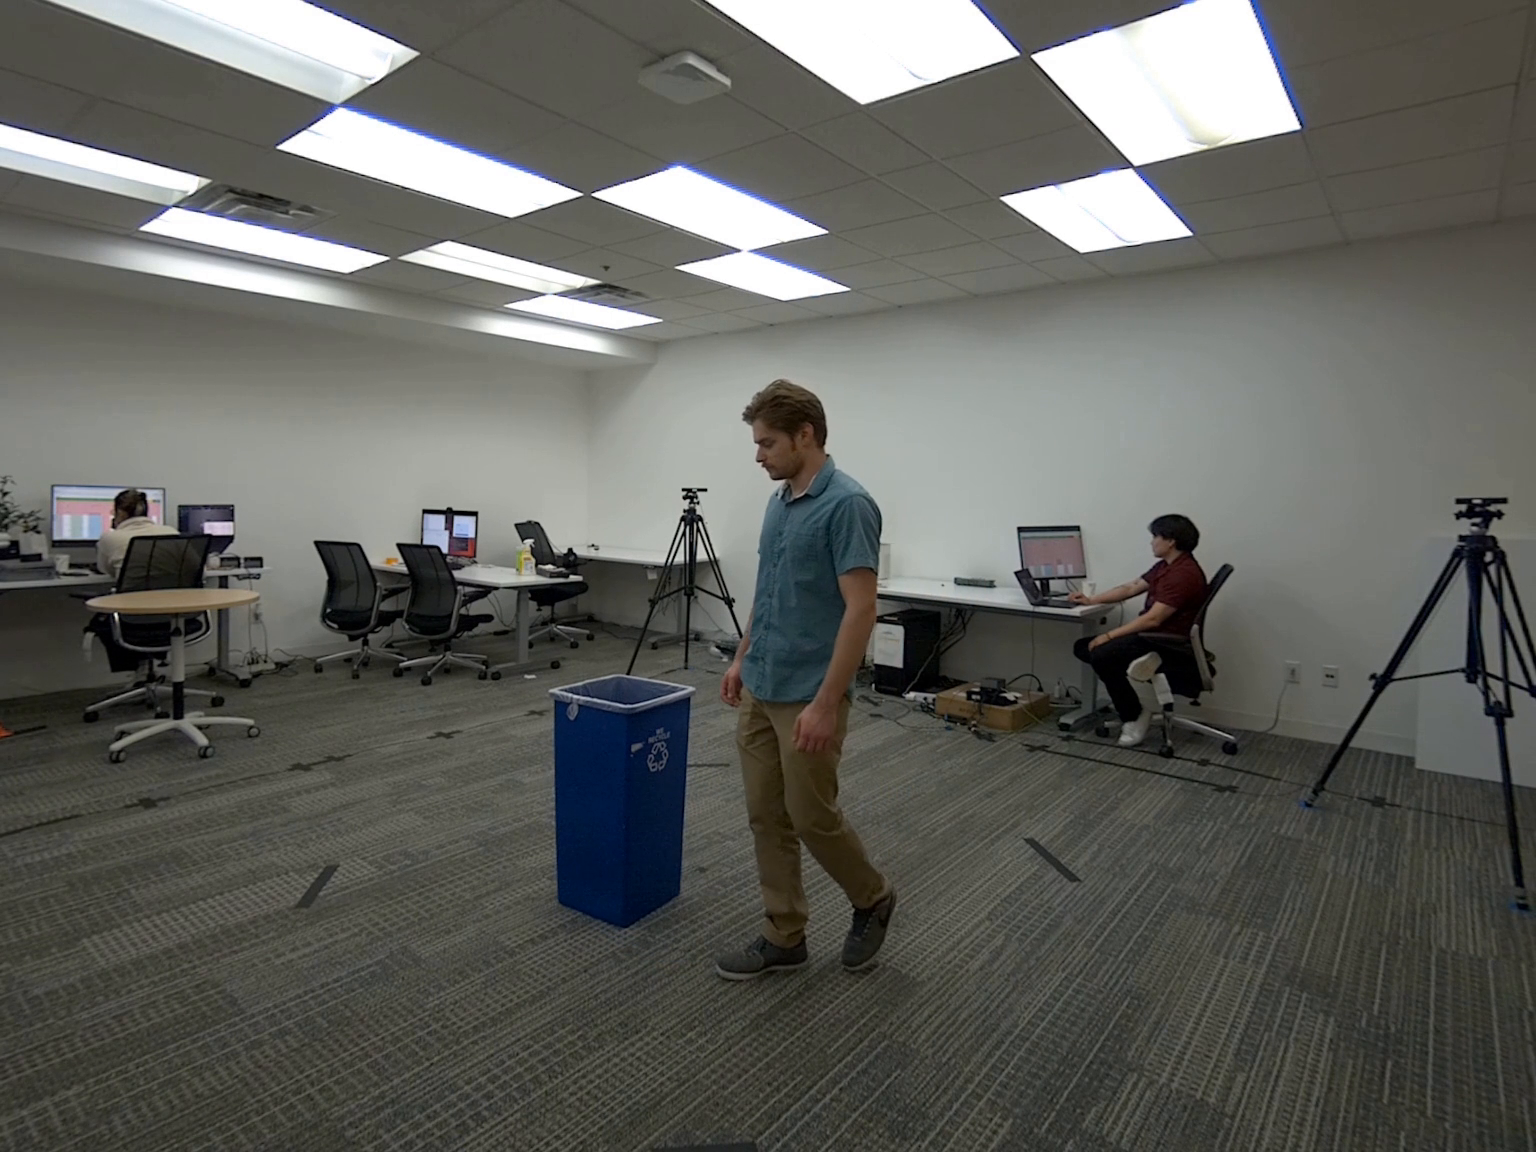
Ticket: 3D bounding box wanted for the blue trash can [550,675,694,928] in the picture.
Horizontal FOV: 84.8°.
[{"bbox_3d":[-0.502,0.729,2.871,0.390,0.712,0.364,3,4,33],"label":"blue trash can"}]
